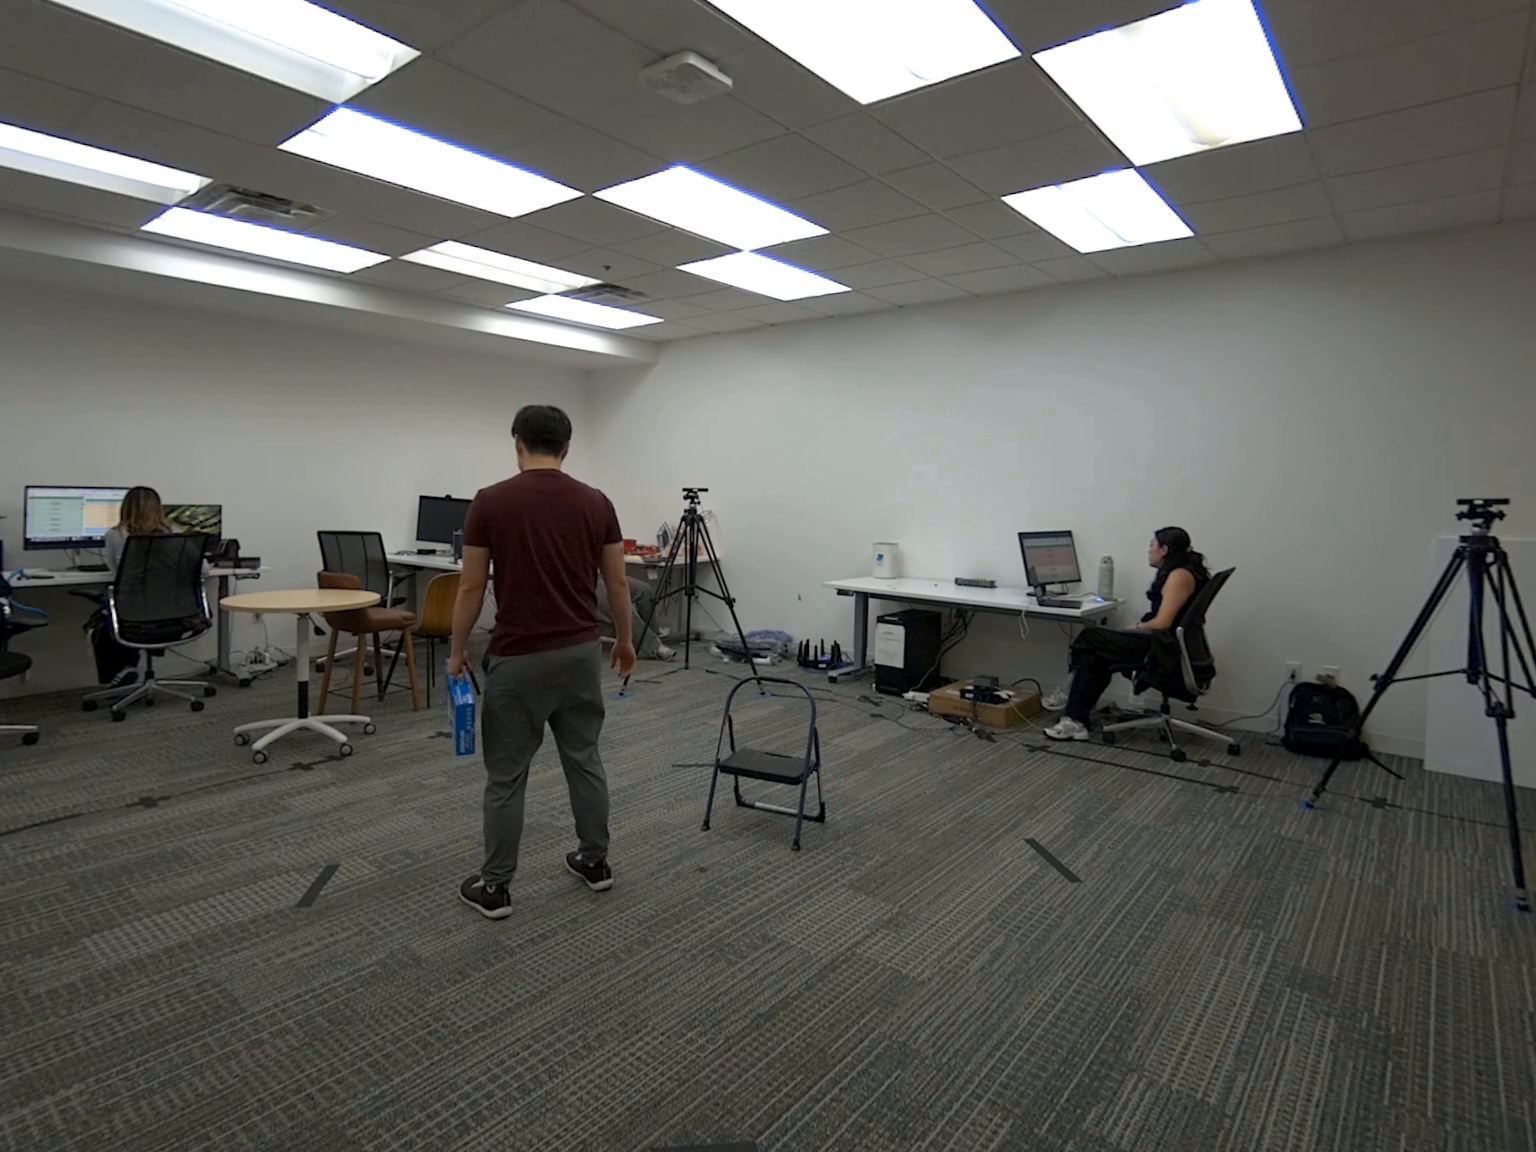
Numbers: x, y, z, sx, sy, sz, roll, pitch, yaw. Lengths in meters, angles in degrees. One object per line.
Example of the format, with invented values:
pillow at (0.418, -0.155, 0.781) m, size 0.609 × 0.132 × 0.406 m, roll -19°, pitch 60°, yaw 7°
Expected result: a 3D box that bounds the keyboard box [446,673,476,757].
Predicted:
keyboard box at (-1.047, 0.429, 2.854) m, size 0.058 × 0.174 × 0.451 m, roll -1°, pitch 14°, yaw -25°
